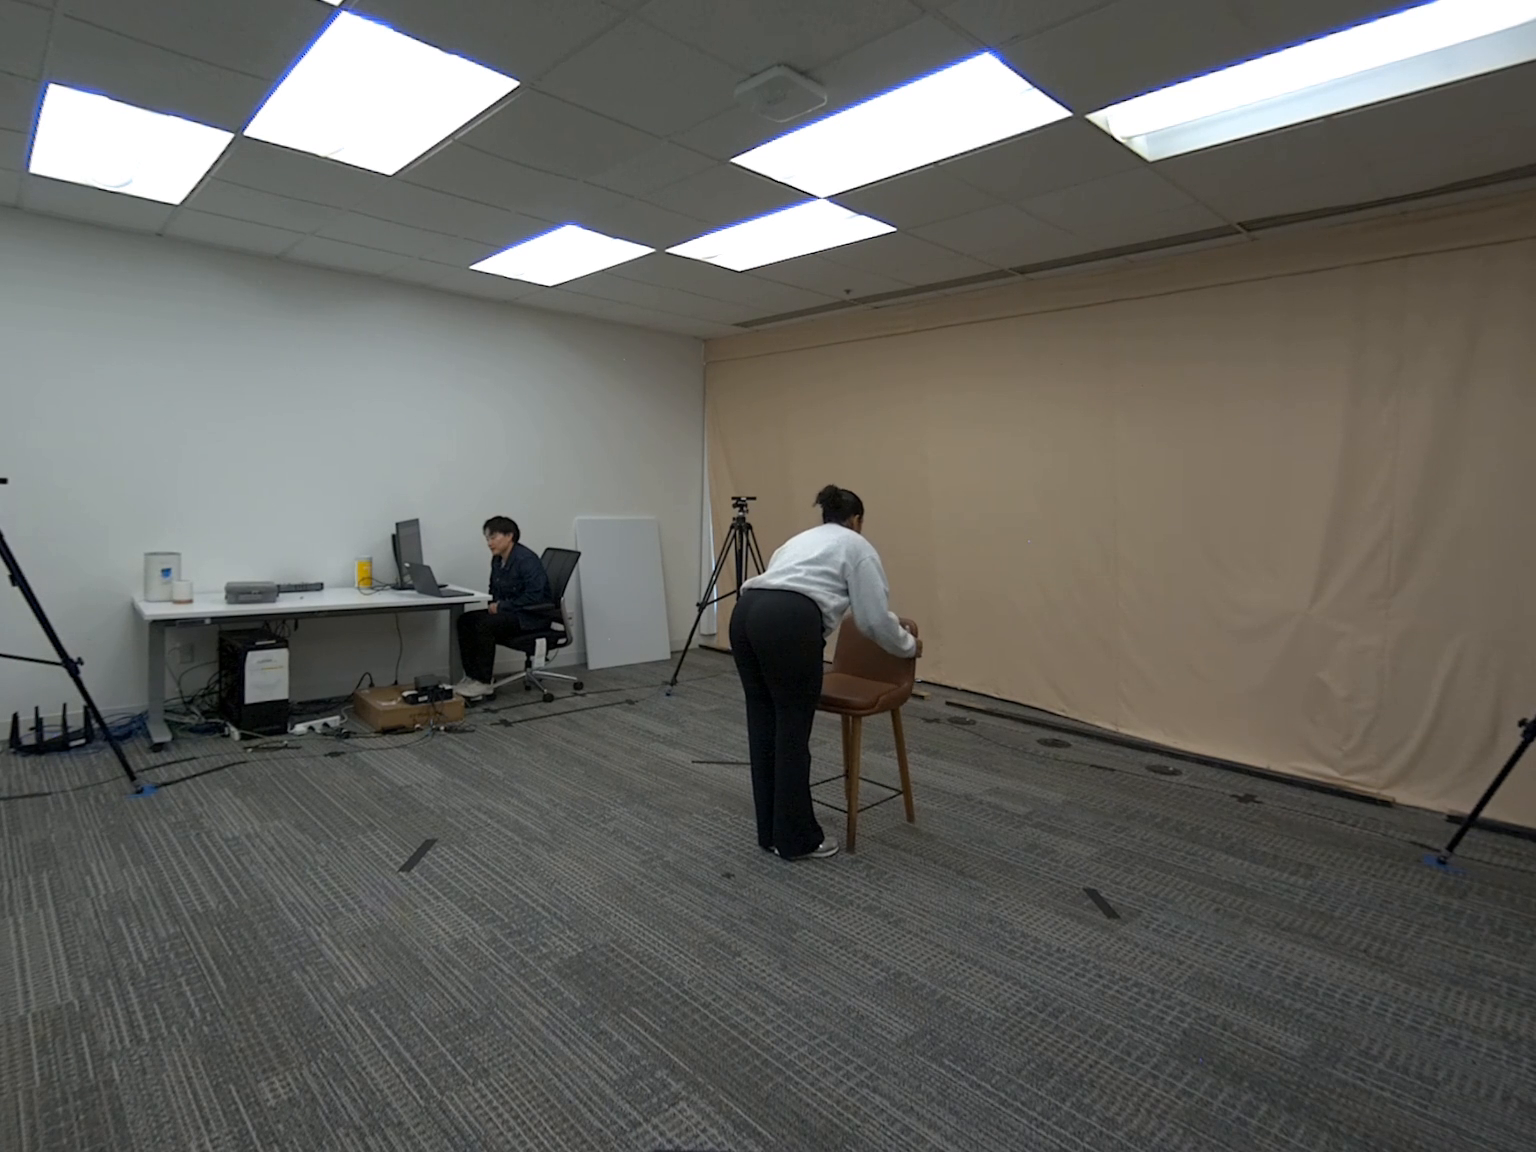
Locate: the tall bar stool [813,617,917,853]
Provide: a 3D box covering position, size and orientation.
[{"bbox_3d":[0.340,0.624,3.590,0.457,0.888,0.468,-2,4,-42],"label":"tall bar stool"}]
